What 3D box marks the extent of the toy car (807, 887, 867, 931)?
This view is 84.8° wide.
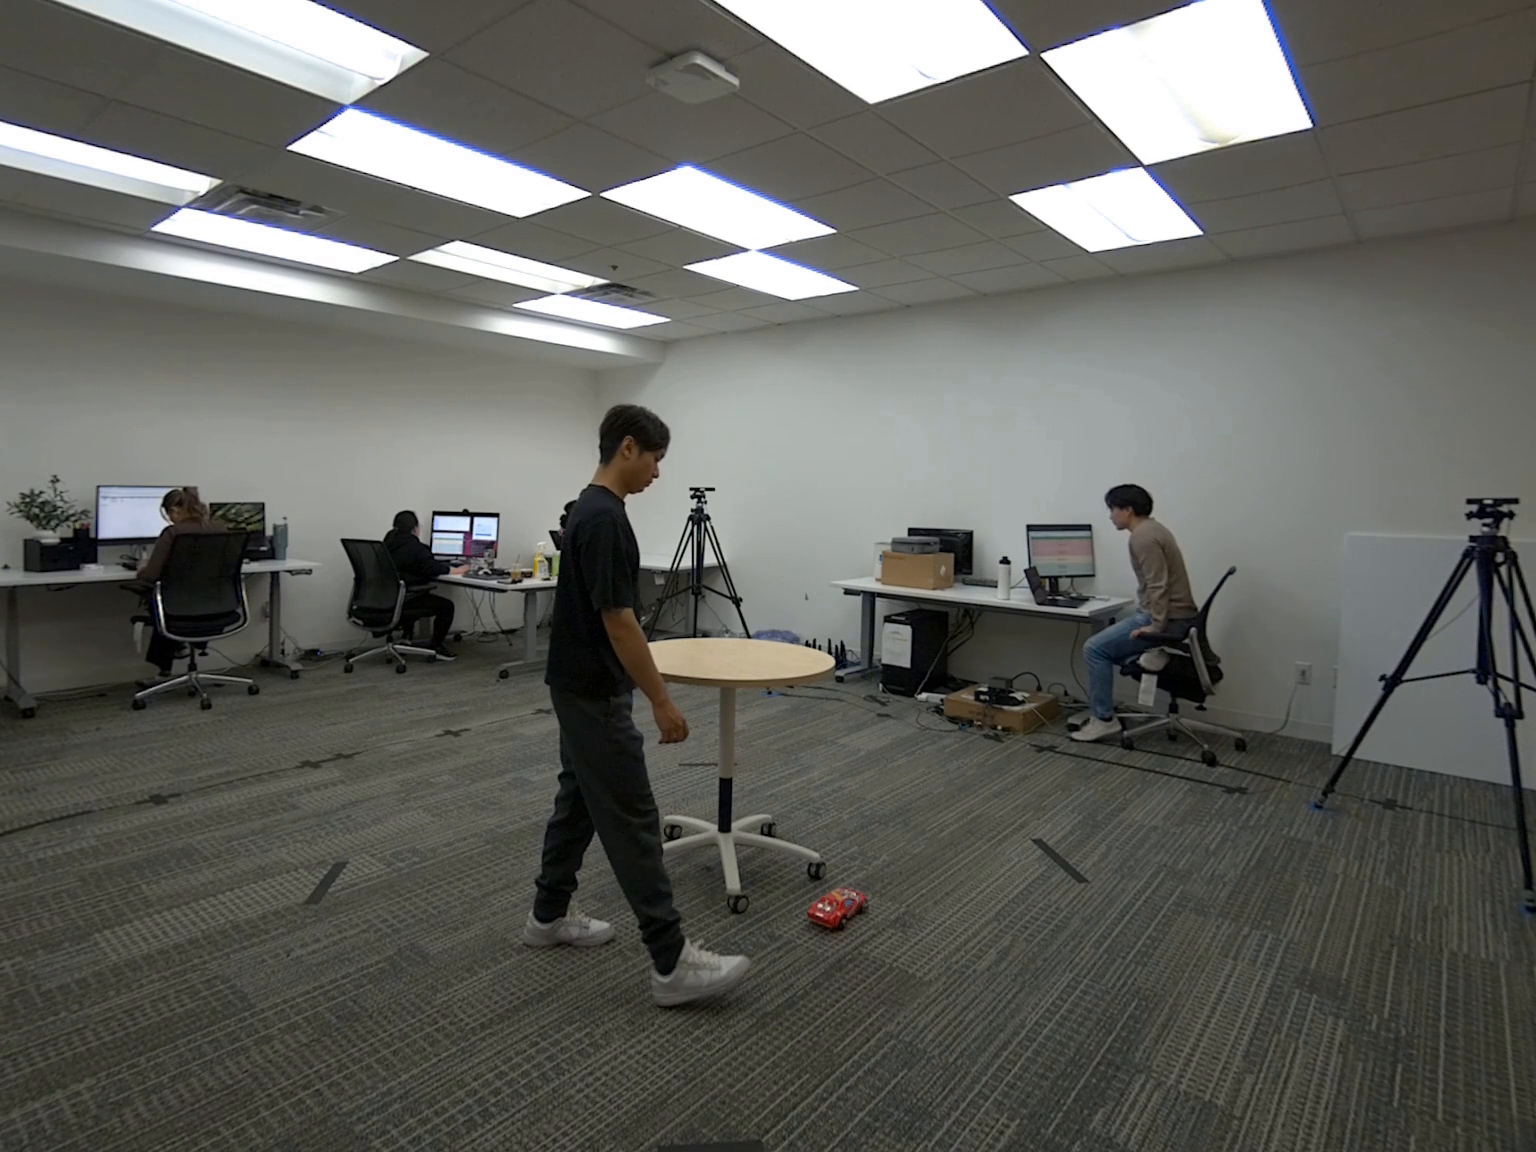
[{"bbox_3d":[0.214,1.077,2.765,0.134,0.083,0.245,6,-4,36],"label":"toy car"}]
